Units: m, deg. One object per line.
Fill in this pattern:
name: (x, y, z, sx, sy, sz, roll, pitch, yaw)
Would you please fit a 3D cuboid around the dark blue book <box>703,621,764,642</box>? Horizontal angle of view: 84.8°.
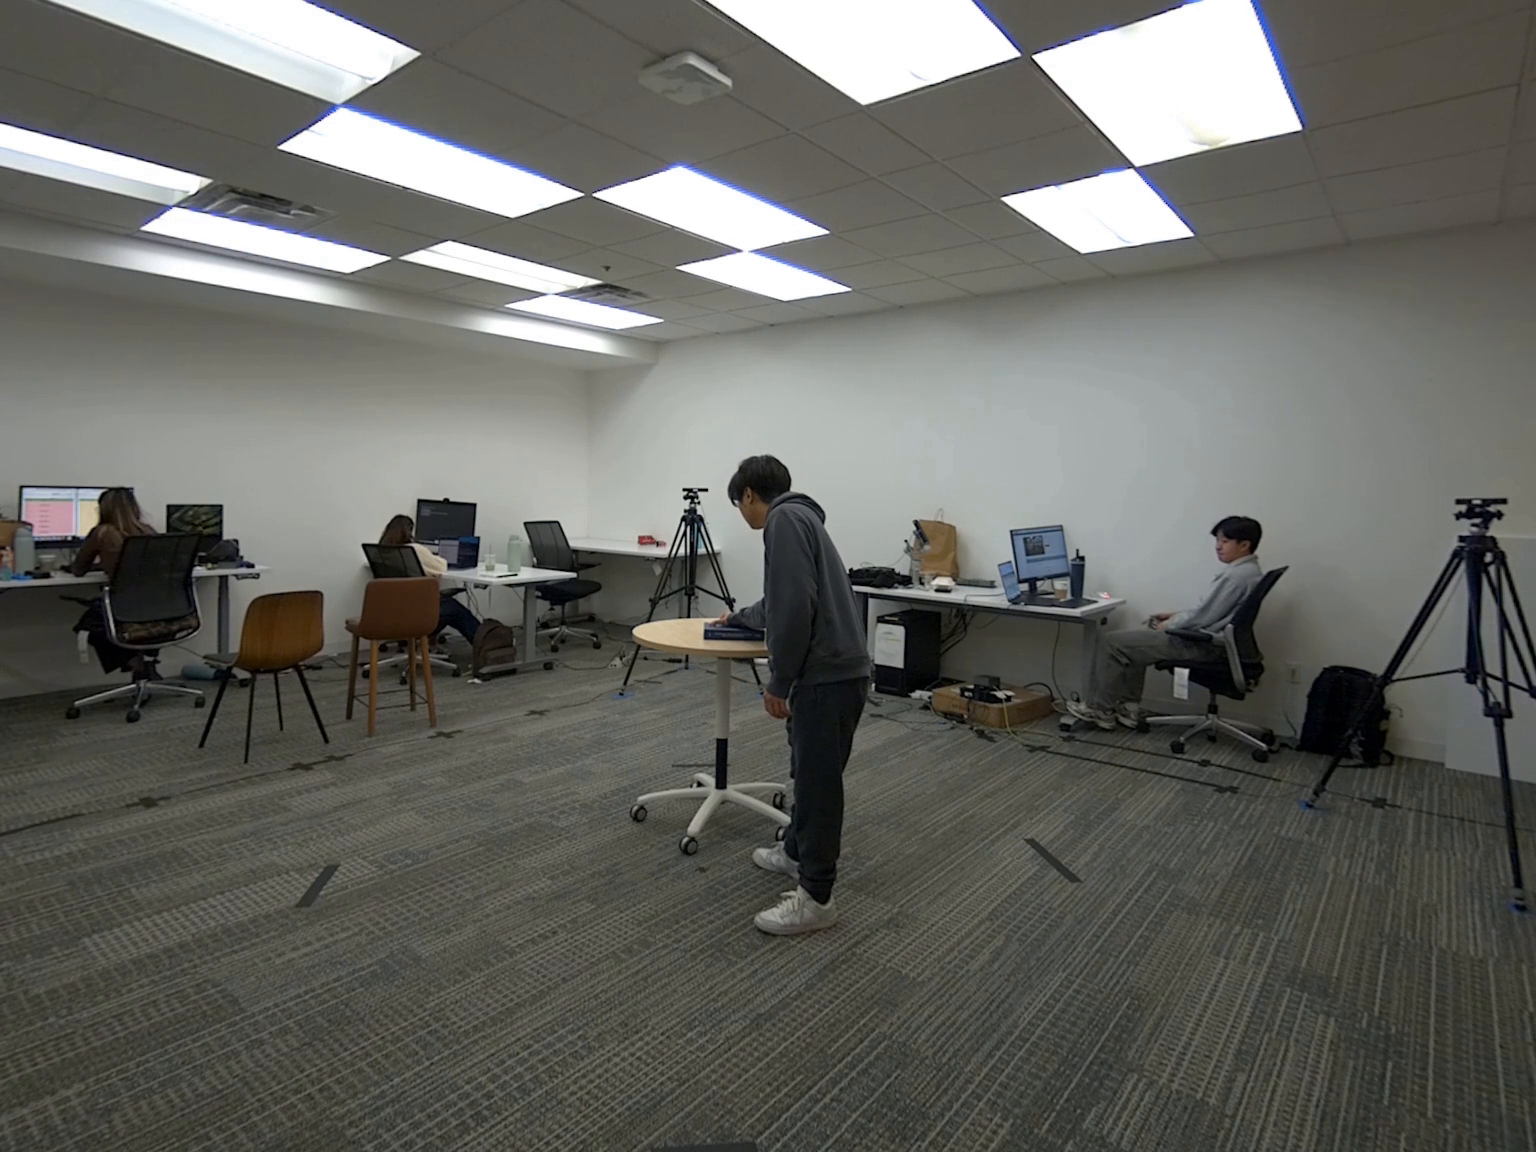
dark blue book: (-0.148, 0.225, 3.439, 0.245, 0.045, 0.164, 1, 6, -2)
